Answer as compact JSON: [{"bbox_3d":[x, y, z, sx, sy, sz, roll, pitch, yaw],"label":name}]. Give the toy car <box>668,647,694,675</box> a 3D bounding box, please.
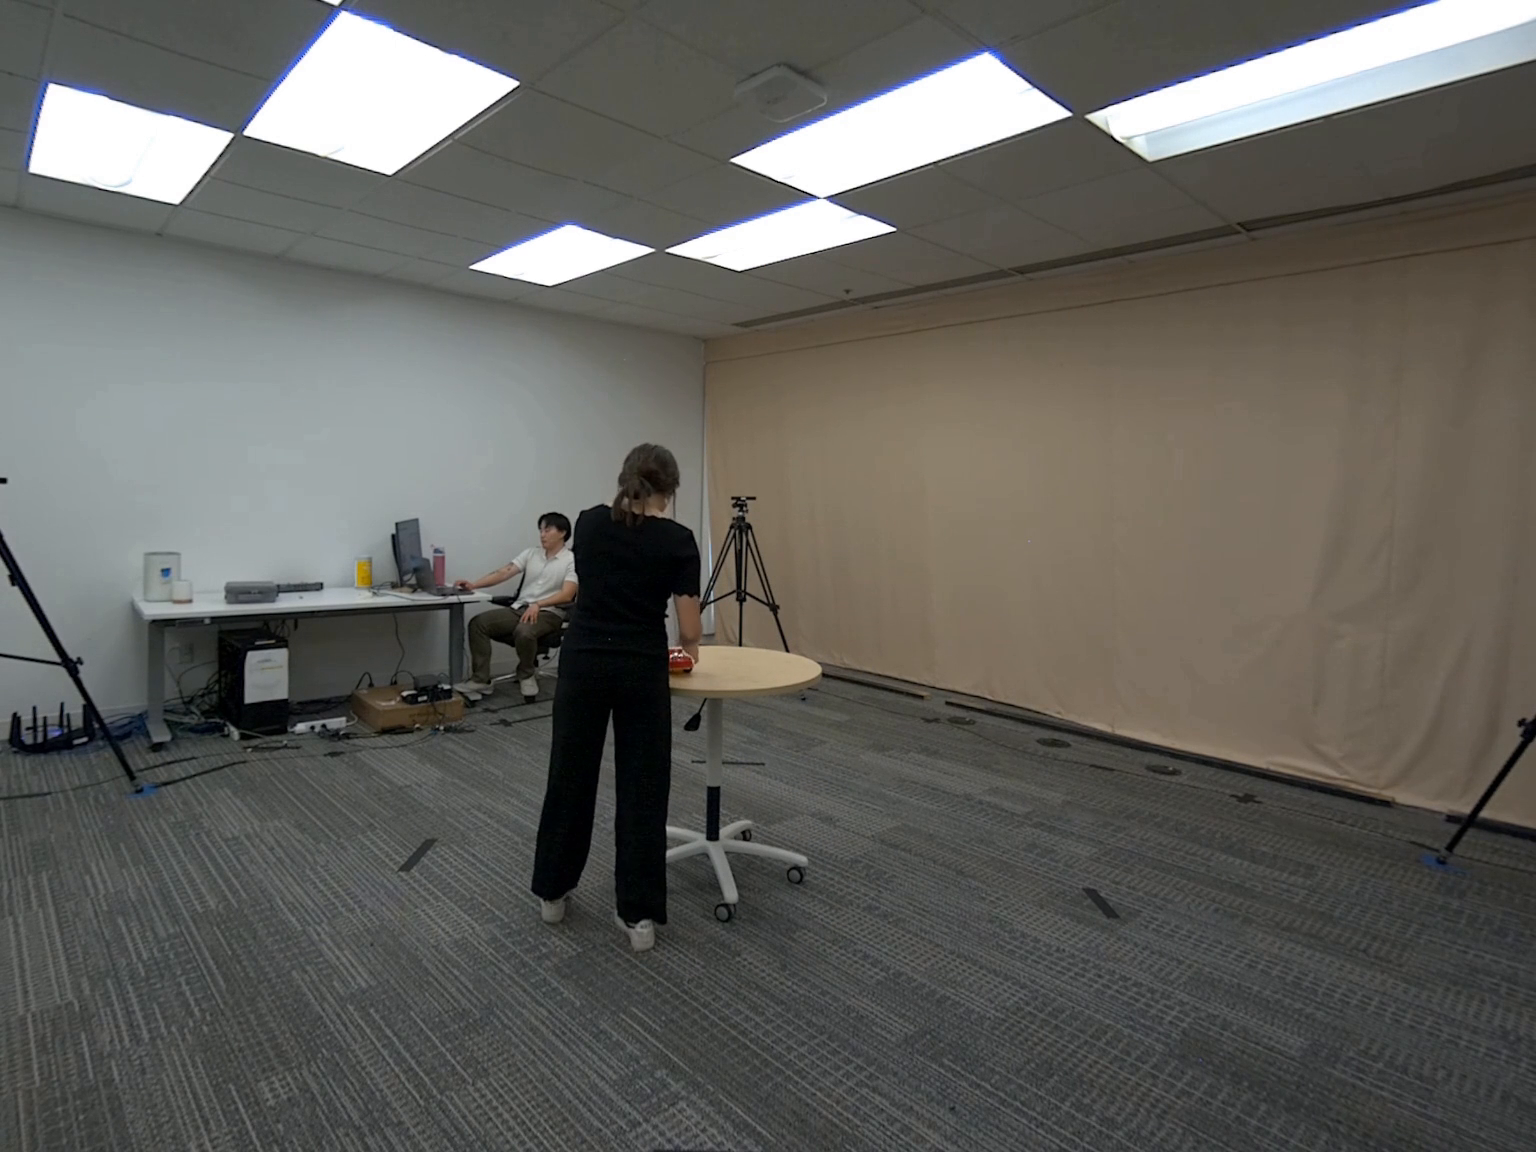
[{"bbox_3d":[-0.350,0.301,2.957,0.128,0.083,0.257,0,-6,-20],"label":"toy car"}]
